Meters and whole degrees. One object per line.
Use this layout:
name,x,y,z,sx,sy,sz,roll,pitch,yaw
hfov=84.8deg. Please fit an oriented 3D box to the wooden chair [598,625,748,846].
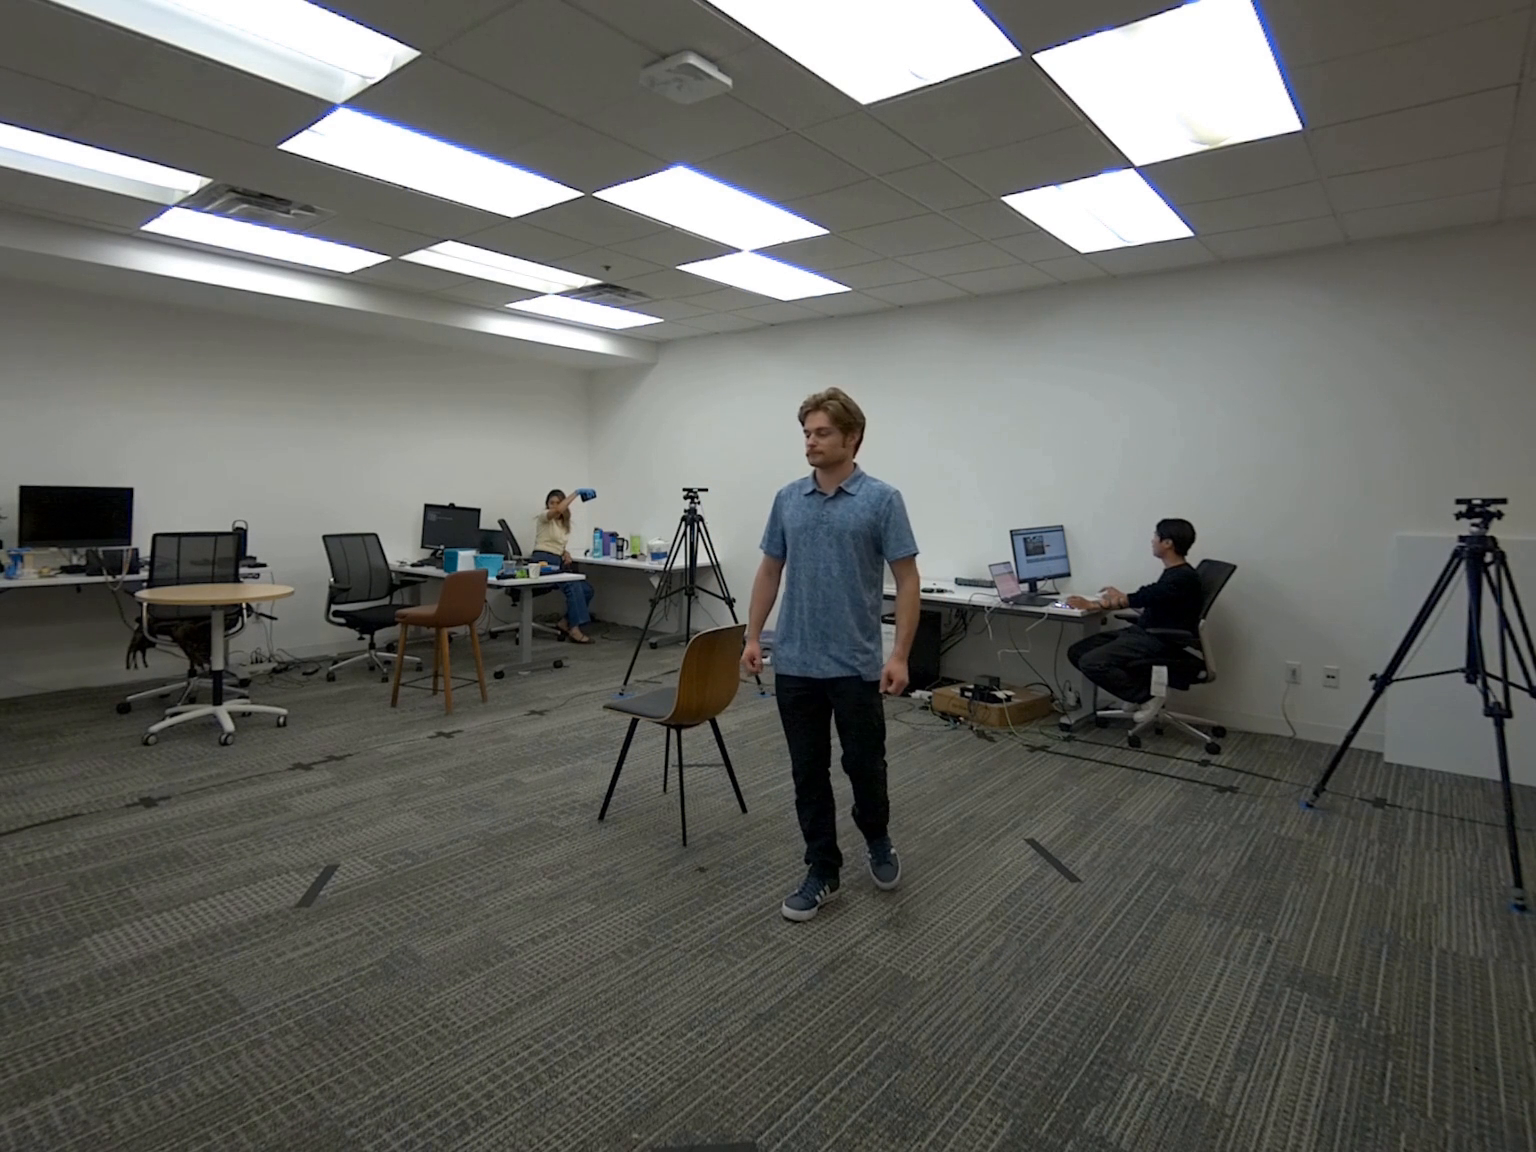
wooden chair,-0.411,0.591,3.586,0.540,0.873,0.465,9,7,32
